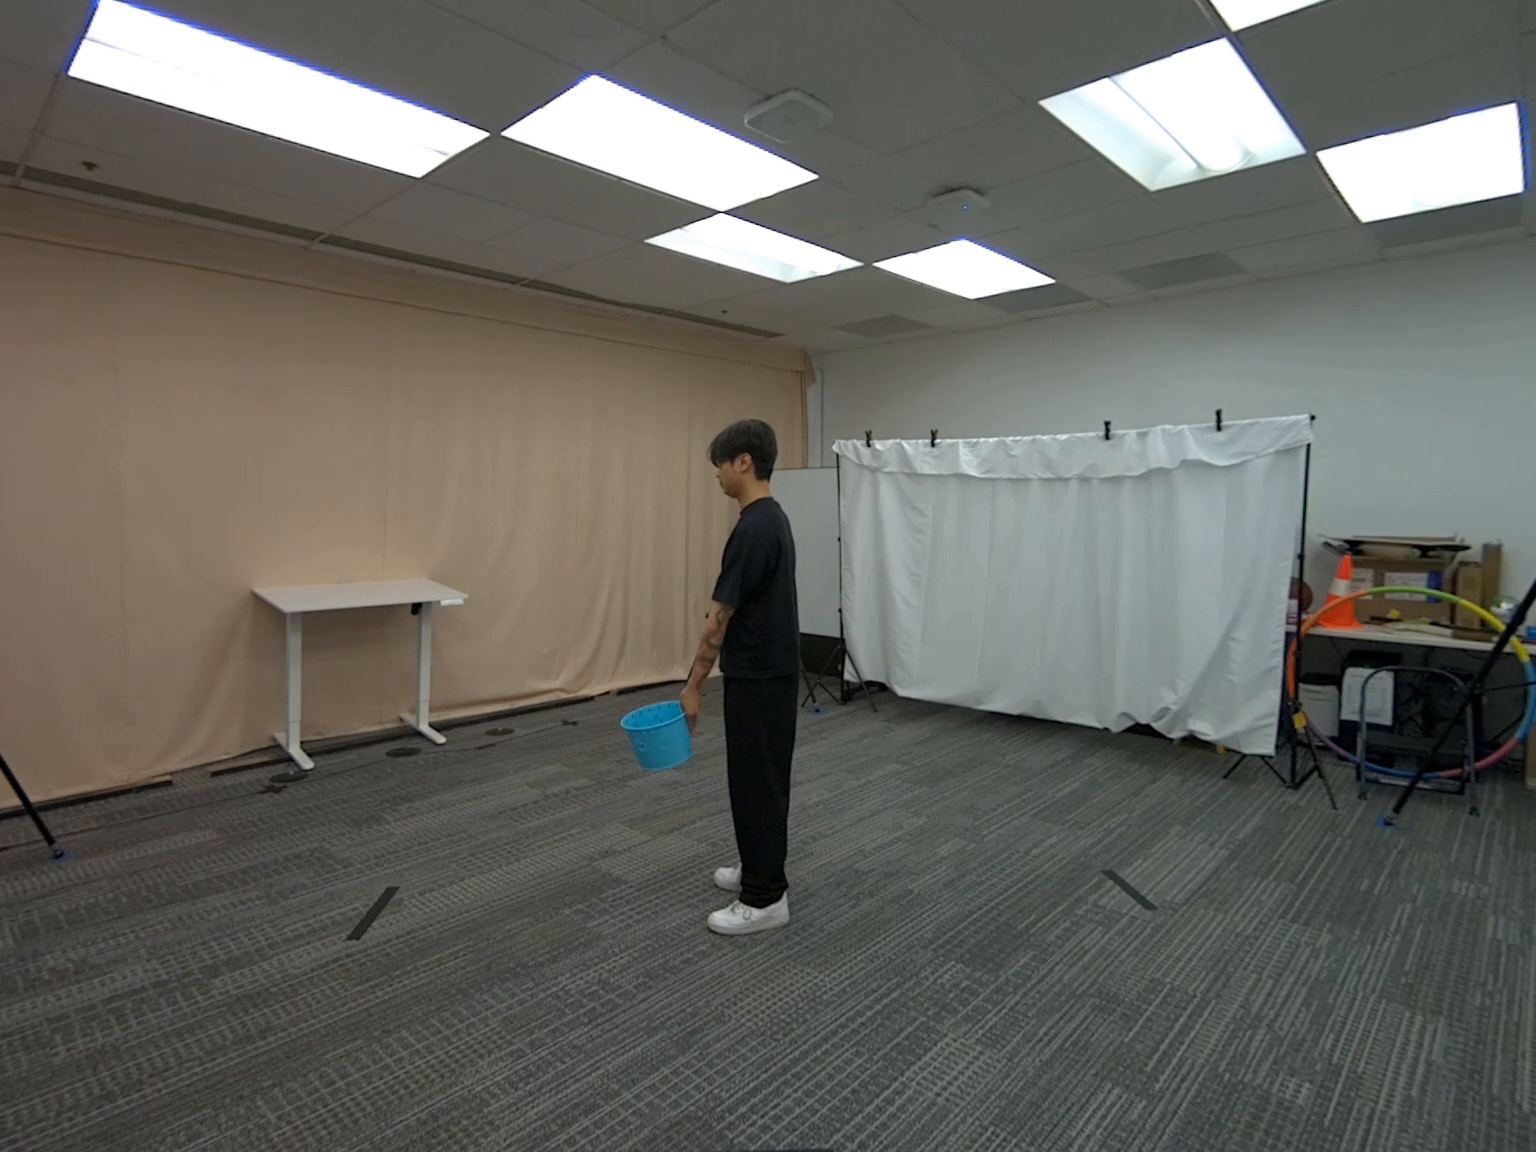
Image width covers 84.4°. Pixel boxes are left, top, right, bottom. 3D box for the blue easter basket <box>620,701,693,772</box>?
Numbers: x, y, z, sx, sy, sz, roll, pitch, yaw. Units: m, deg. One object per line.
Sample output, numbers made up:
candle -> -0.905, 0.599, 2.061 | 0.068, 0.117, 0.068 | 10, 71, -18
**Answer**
blue easter basket -> -0.337, 0.515, 2.733 | 0.244, 0.155, 0.245 | -12, 10, 0
